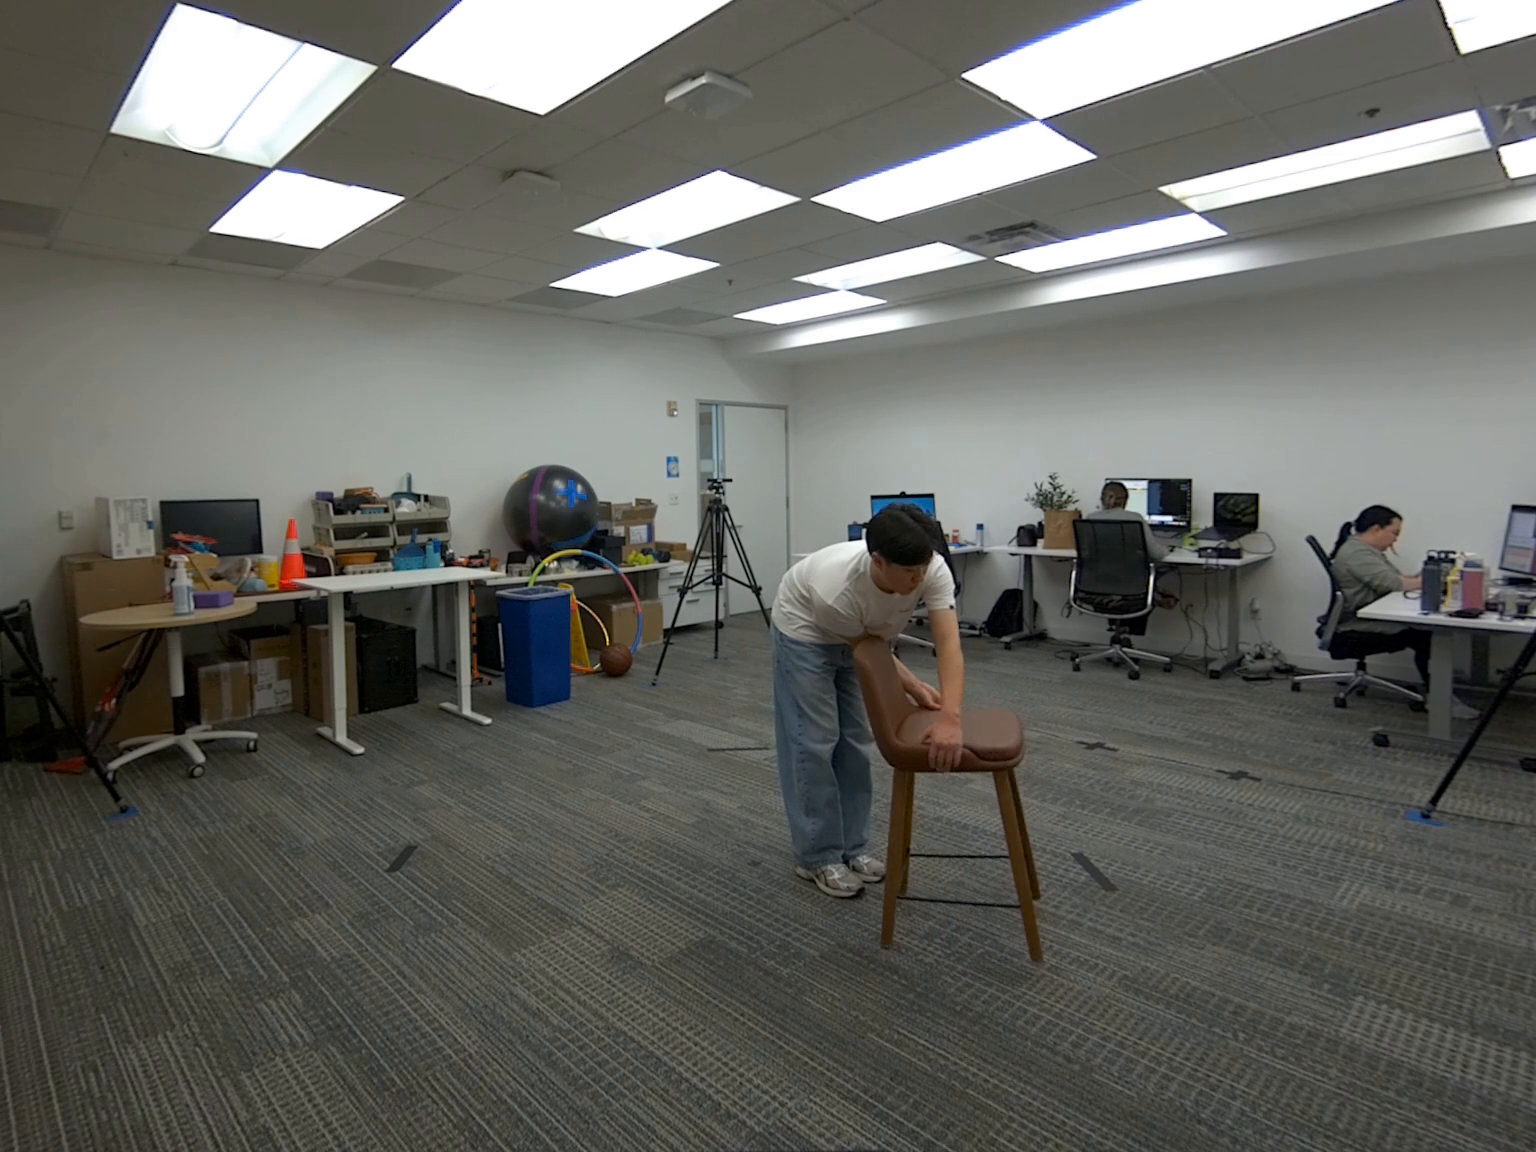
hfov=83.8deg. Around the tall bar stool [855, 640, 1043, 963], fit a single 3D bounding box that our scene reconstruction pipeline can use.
[{"bbox_3d":[0.564,0.637,2.627,0.476,0.889,0.449,-5,1,20],"label":"tall bar stool"}]
